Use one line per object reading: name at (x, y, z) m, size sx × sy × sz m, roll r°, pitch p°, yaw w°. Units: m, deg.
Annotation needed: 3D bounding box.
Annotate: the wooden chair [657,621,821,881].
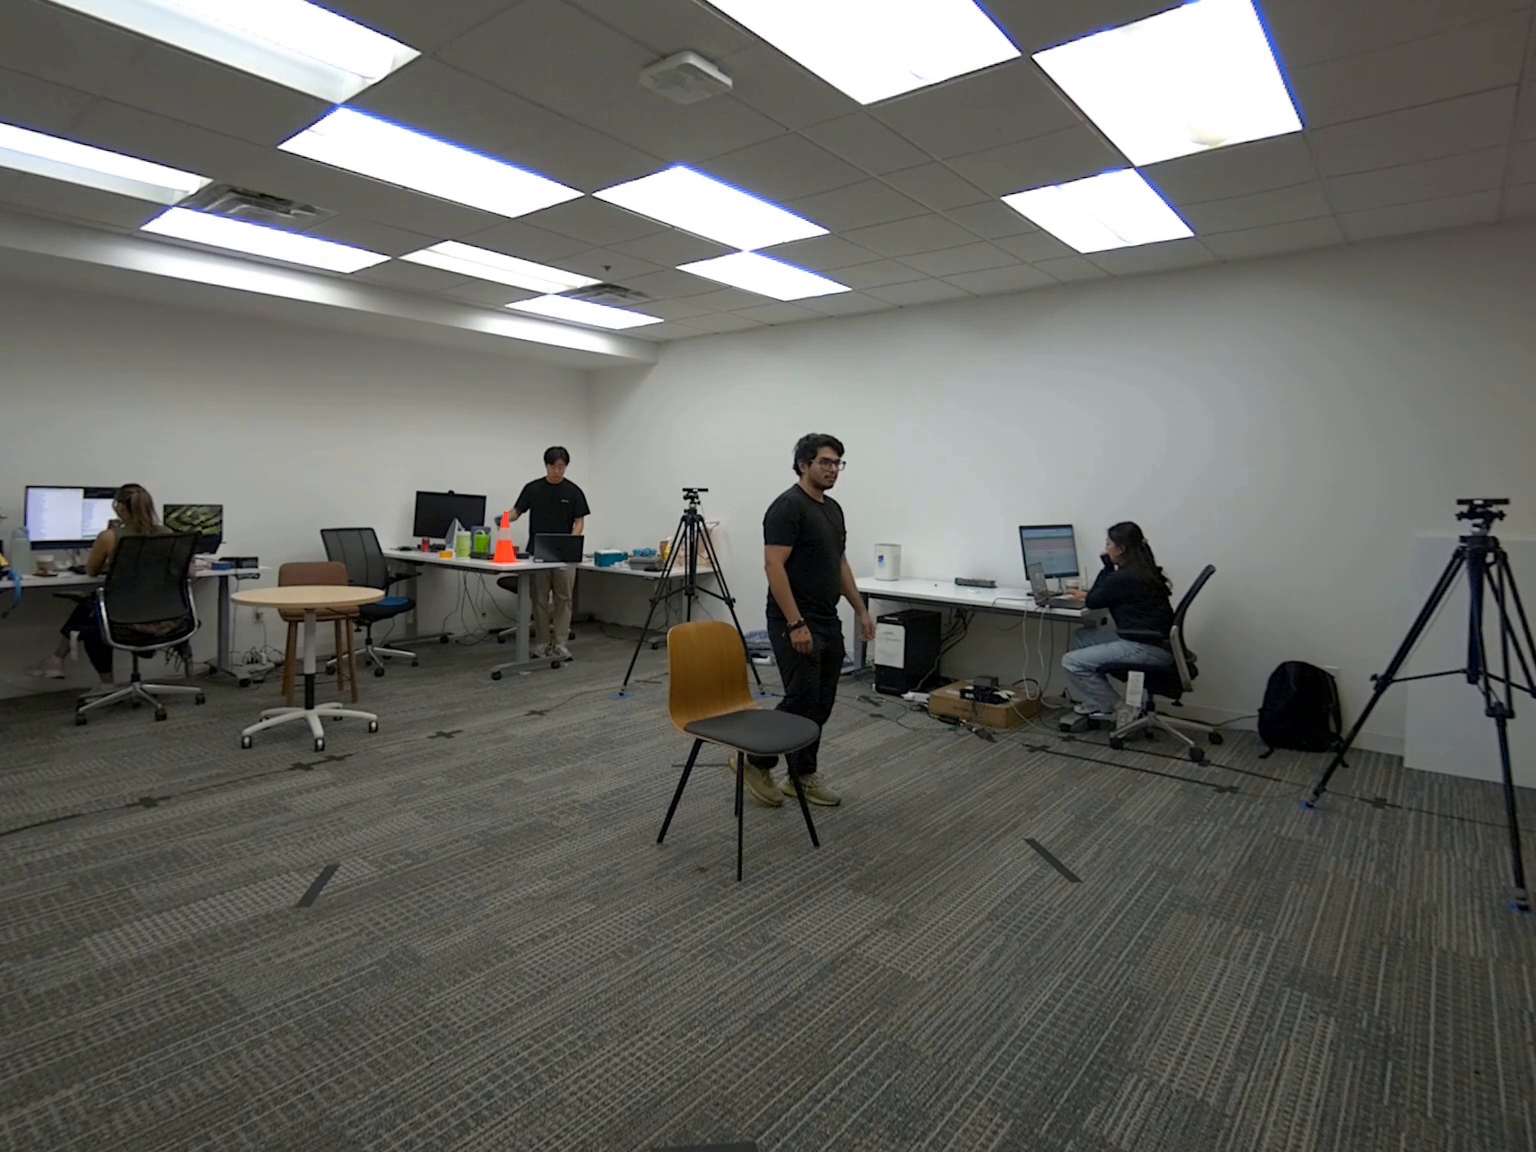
wooden chair at (-0.112, 0.625, 3.298) m, size 0.539 × 0.878 × 0.463 m, roll -2°, pitch 0°, yaw 44°
